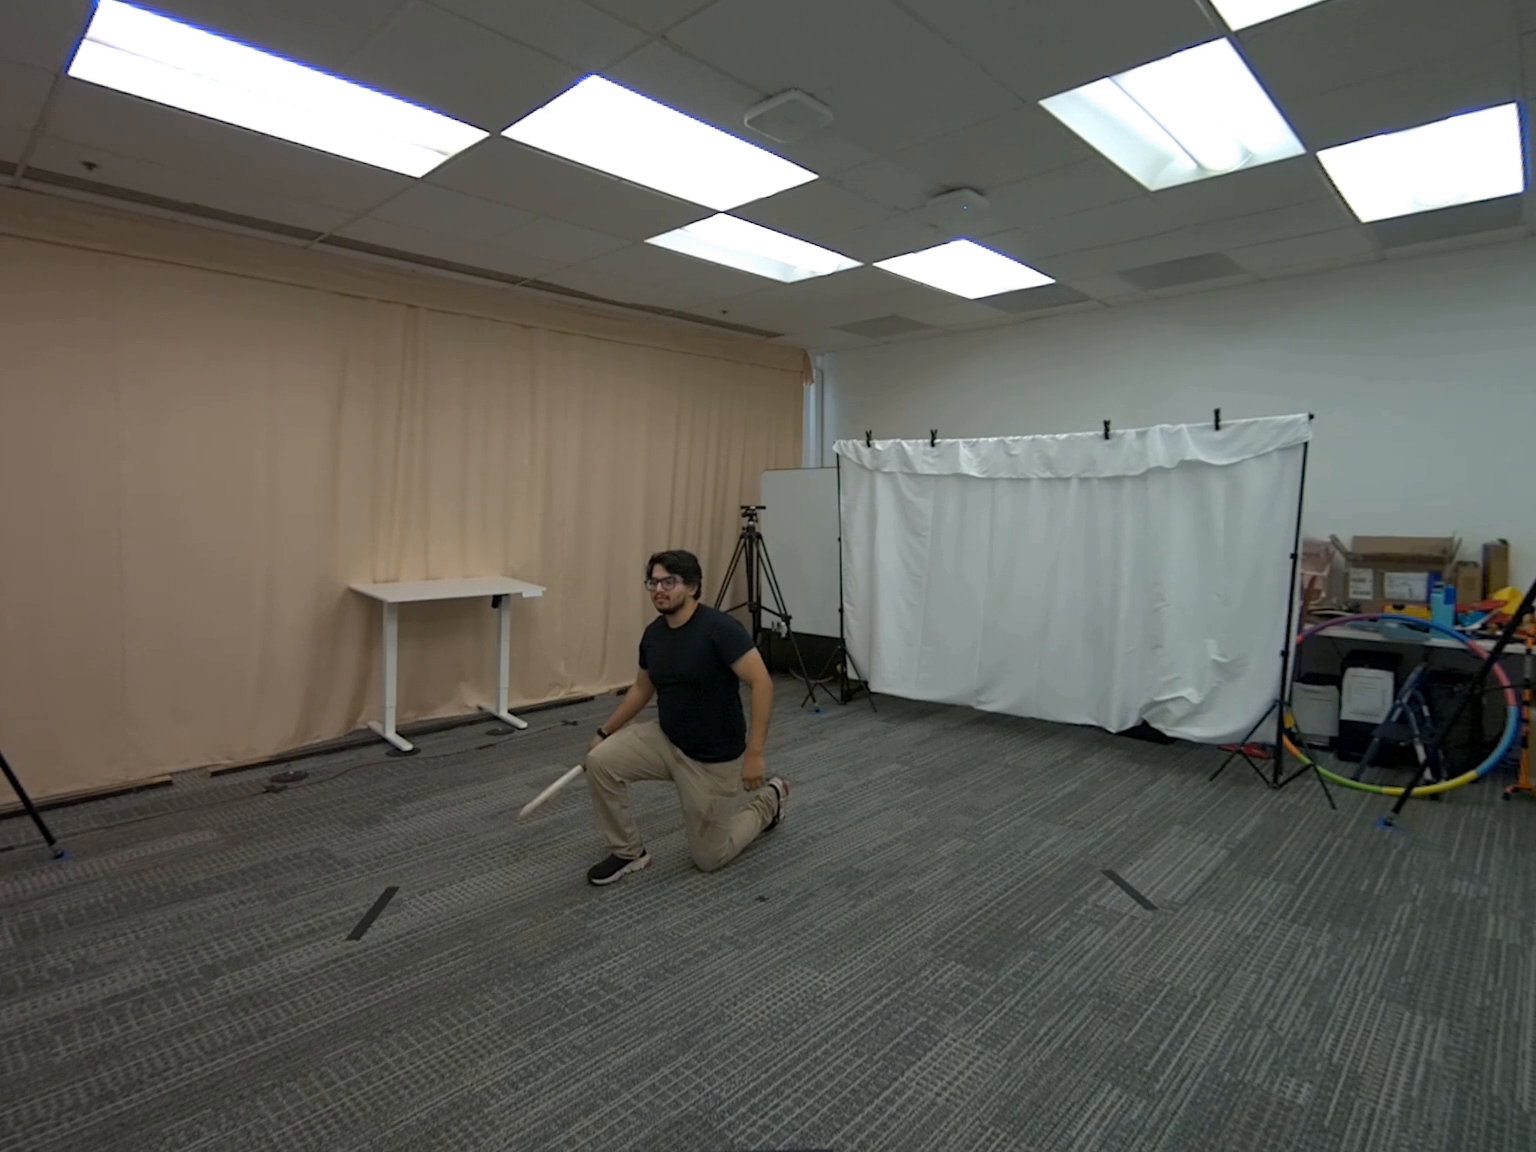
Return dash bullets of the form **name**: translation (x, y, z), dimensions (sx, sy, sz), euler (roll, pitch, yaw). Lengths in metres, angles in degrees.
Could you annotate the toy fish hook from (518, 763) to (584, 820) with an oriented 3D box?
- **toy fish hook**: translation (-0.803, 0.828, 3.445), dimensions (0.501, 0.049, 0.225), euler (-36, -6, -22)
